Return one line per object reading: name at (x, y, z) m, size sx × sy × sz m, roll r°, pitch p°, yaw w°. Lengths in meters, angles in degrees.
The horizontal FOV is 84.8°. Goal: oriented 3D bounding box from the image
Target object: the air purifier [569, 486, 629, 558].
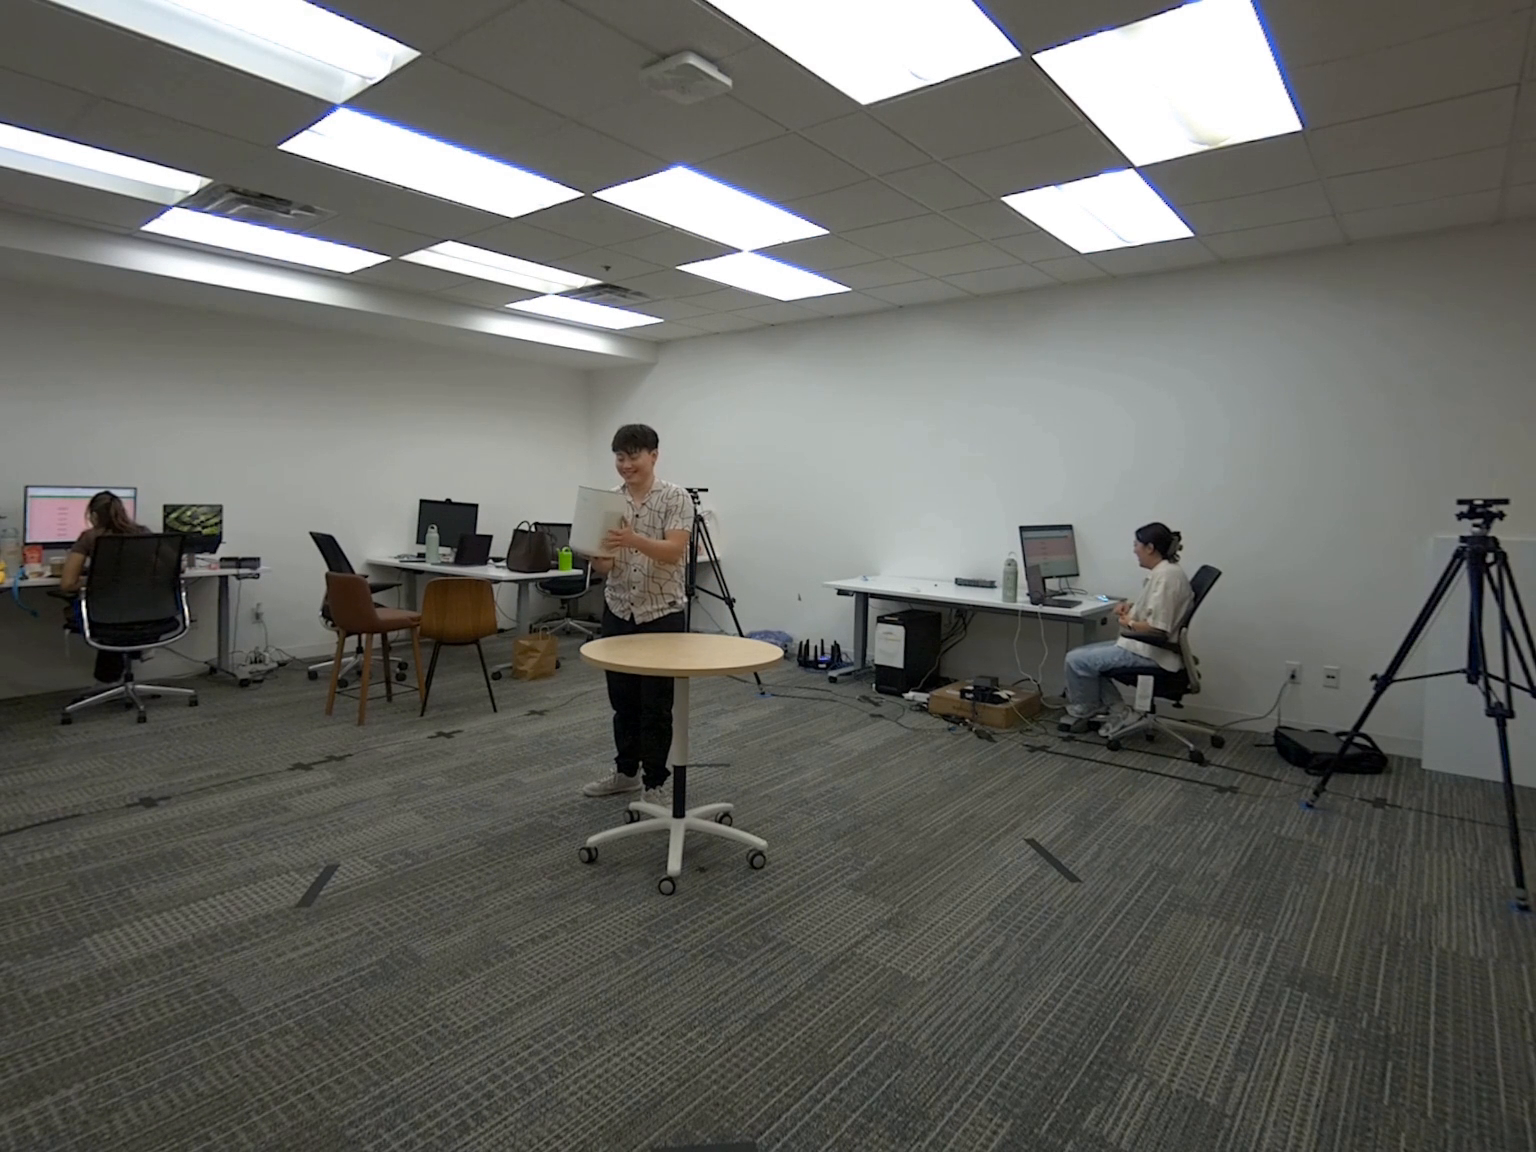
air purifier at (-0.705, -0.226, 3.421) m, size 0.178 × 0.265 × 0.165 m, roll 16°, pitch 4°, yaw 41°
